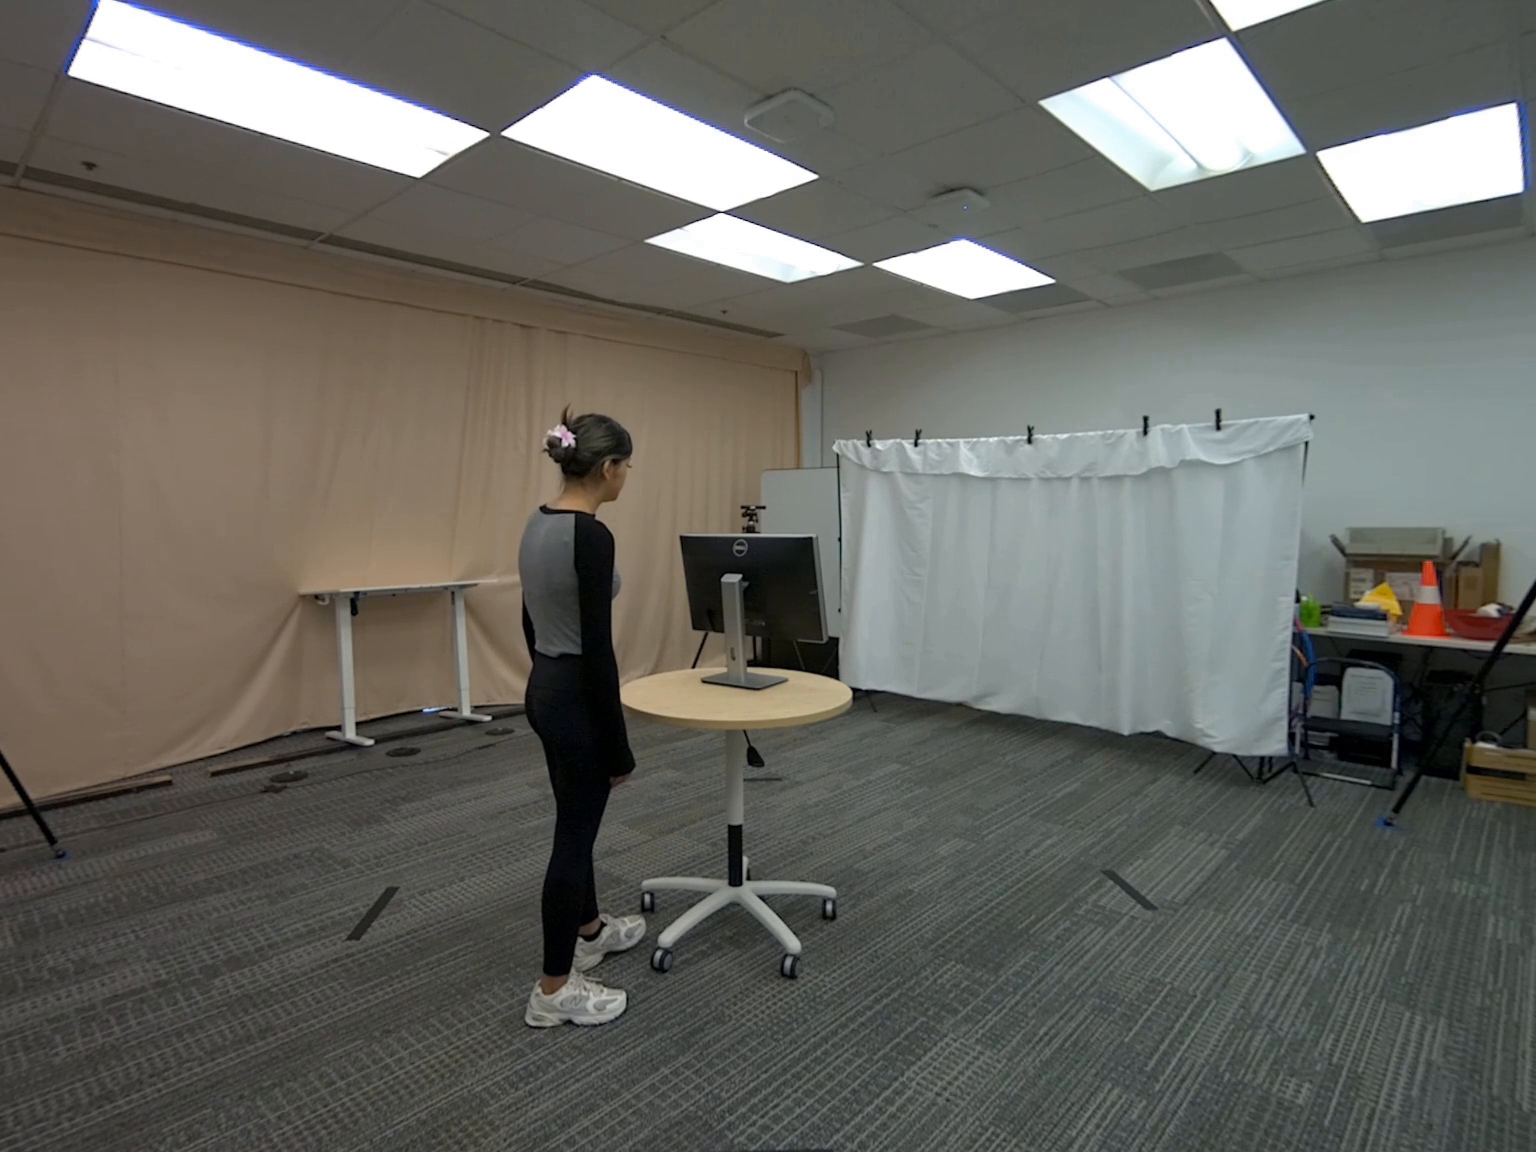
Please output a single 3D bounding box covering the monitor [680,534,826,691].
[{"bbox_3d":[-0.073,0.118,2.880,0.546,0.517,0.169,0,-5,35],"label":"monitor"}]
